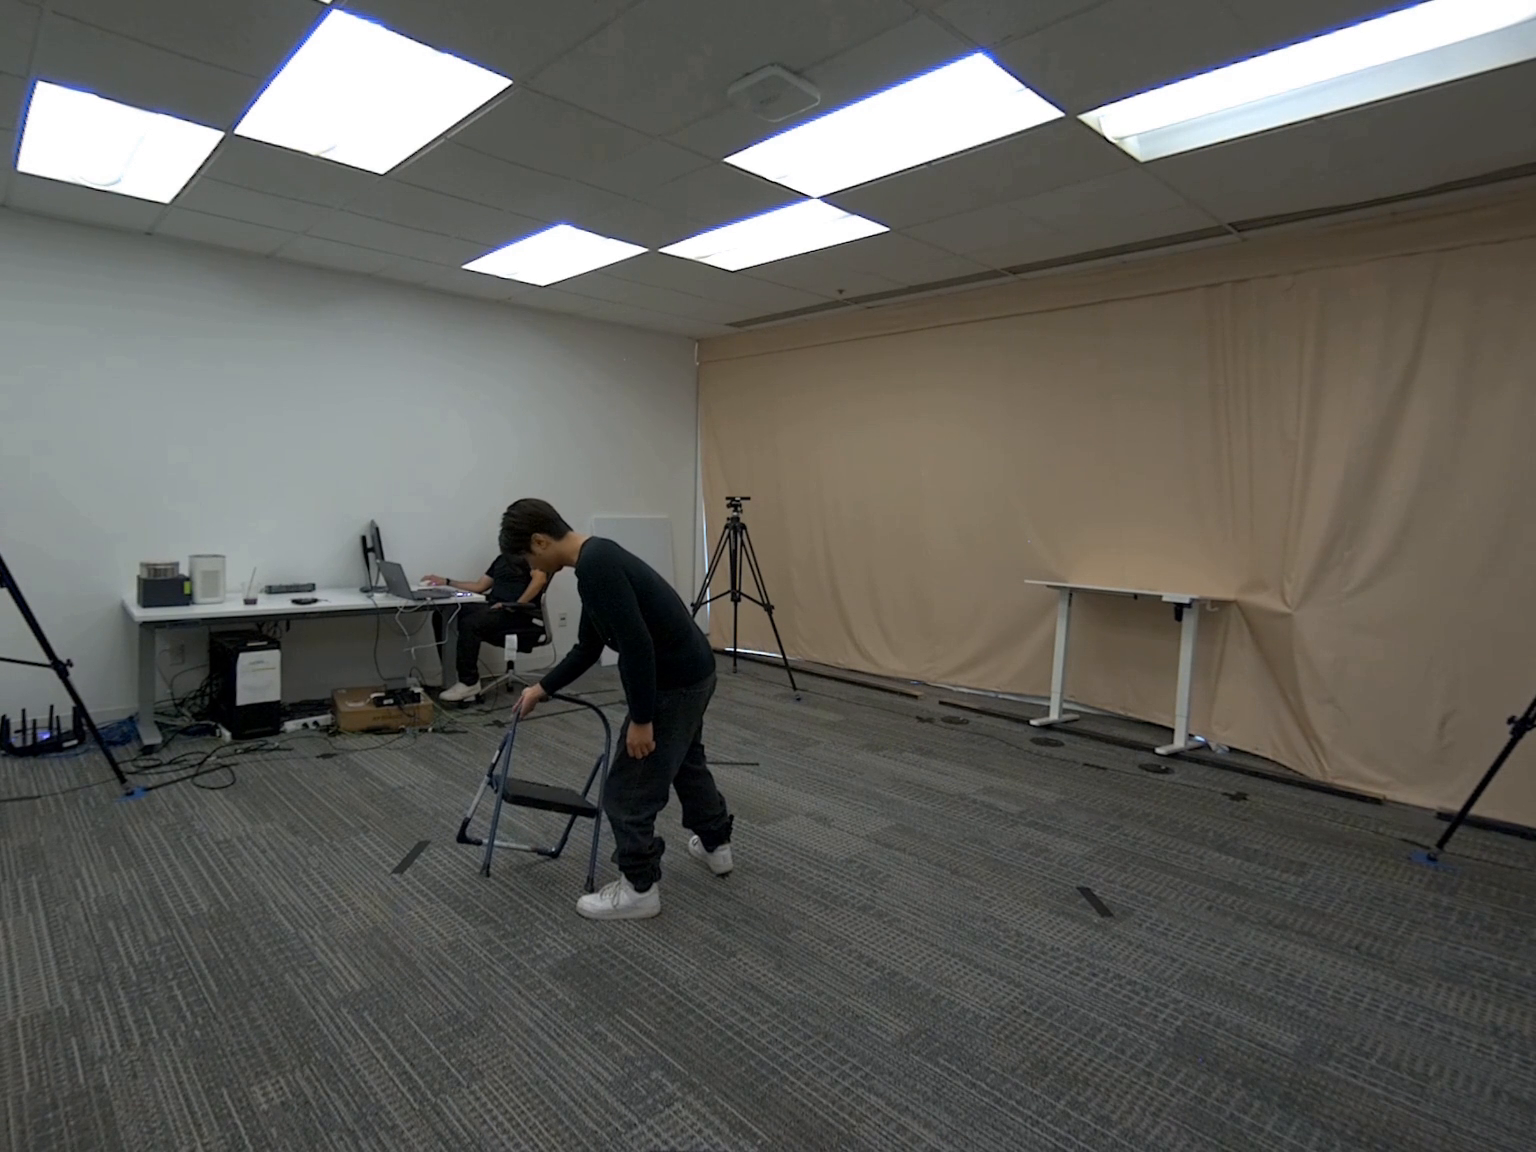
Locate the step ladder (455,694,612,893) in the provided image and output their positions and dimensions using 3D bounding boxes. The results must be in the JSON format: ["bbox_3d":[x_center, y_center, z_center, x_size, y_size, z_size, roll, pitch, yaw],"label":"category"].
[{"bbox_3d":[-0.789,0.743,3.043,0.418,0.608,0.358,23,-10,-35],"label":"step ladder"}]
